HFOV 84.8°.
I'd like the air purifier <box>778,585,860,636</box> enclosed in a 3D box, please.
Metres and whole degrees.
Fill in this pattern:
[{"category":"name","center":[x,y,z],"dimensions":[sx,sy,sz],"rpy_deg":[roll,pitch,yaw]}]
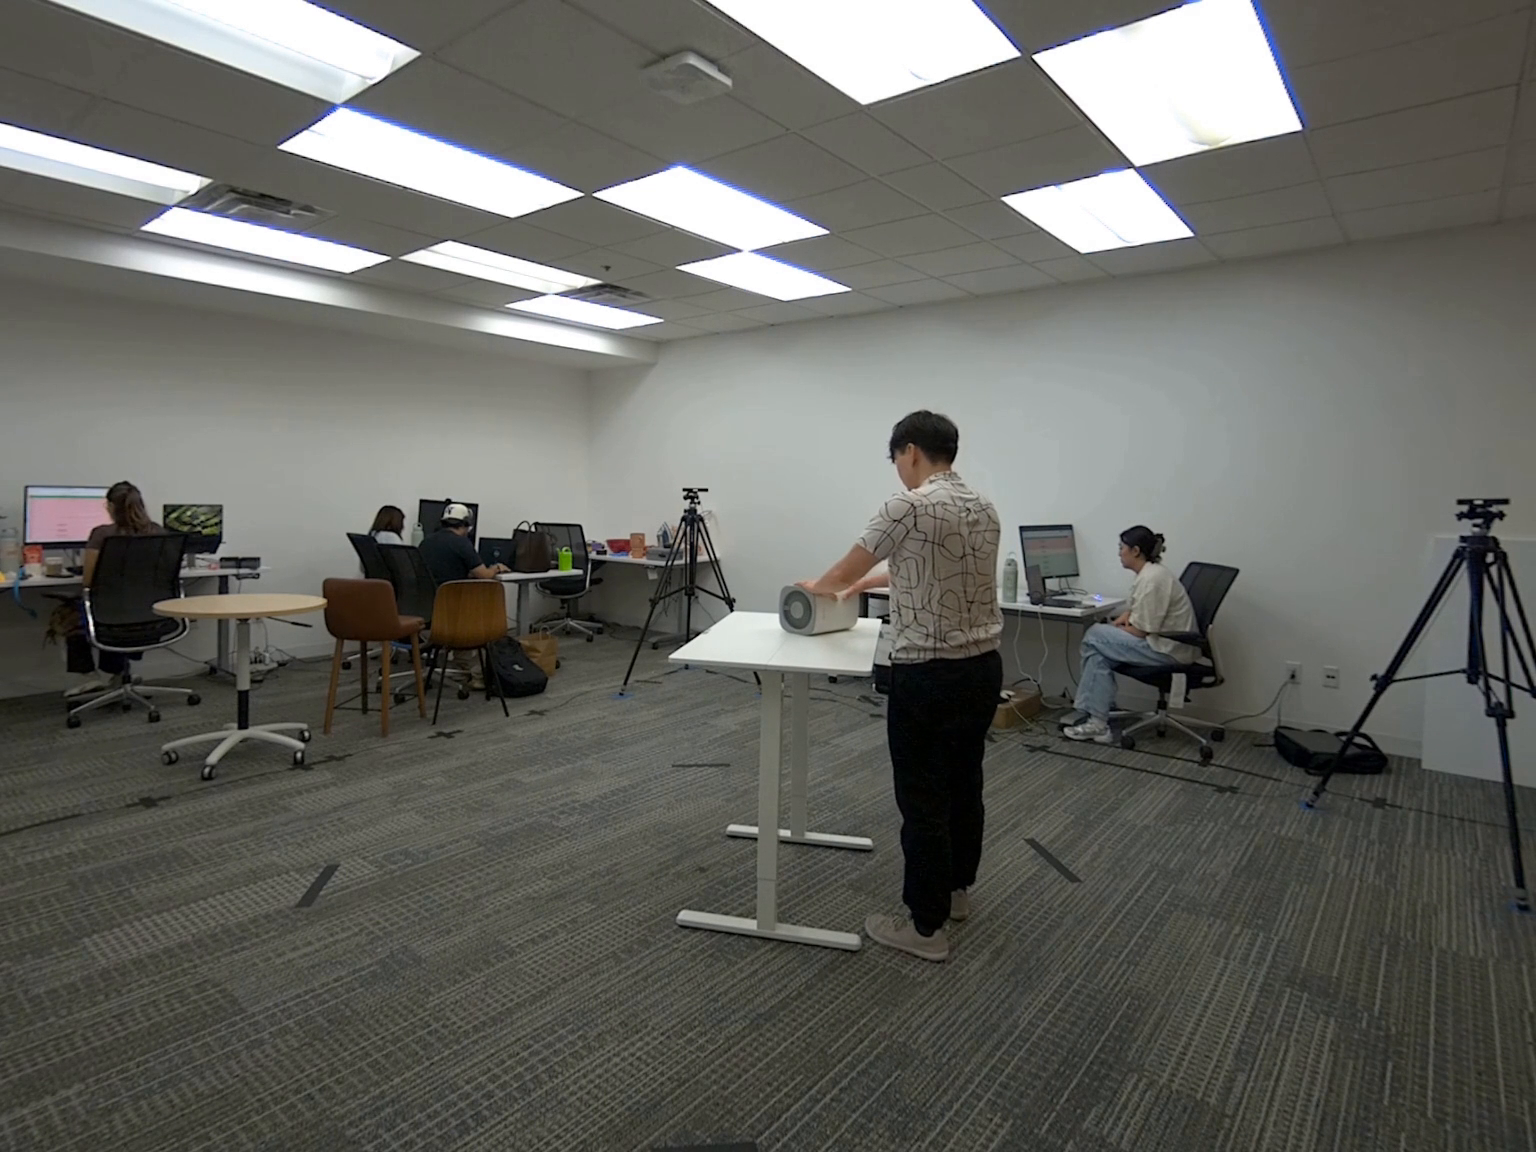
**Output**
[{"category":"air purifier","center":[0.183,0.110,3.090],"dimensions":[0.257,0.170,0.177],"rpy_deg":[-4,7,-44]}]
